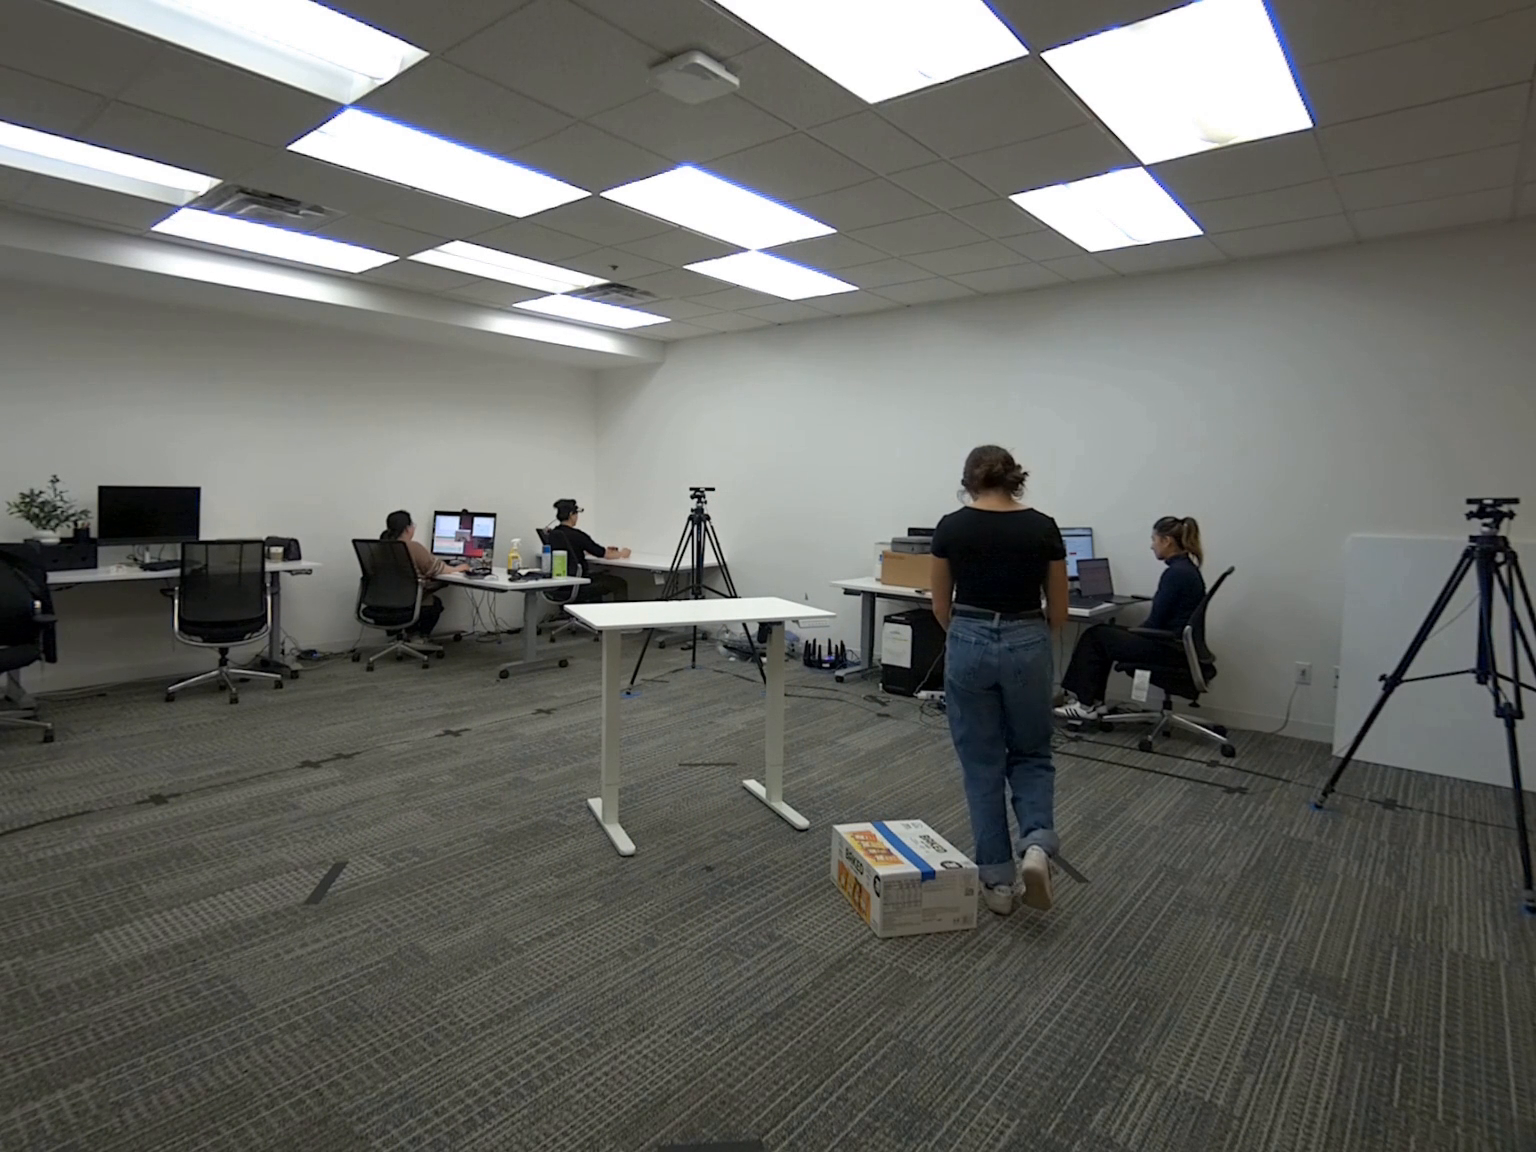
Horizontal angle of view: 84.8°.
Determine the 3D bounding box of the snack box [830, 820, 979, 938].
[{"bbox_3d":[0.444,1.003,2.871,0.335,0.205,0.413,0,6,-16],"label":"snack box"}]
